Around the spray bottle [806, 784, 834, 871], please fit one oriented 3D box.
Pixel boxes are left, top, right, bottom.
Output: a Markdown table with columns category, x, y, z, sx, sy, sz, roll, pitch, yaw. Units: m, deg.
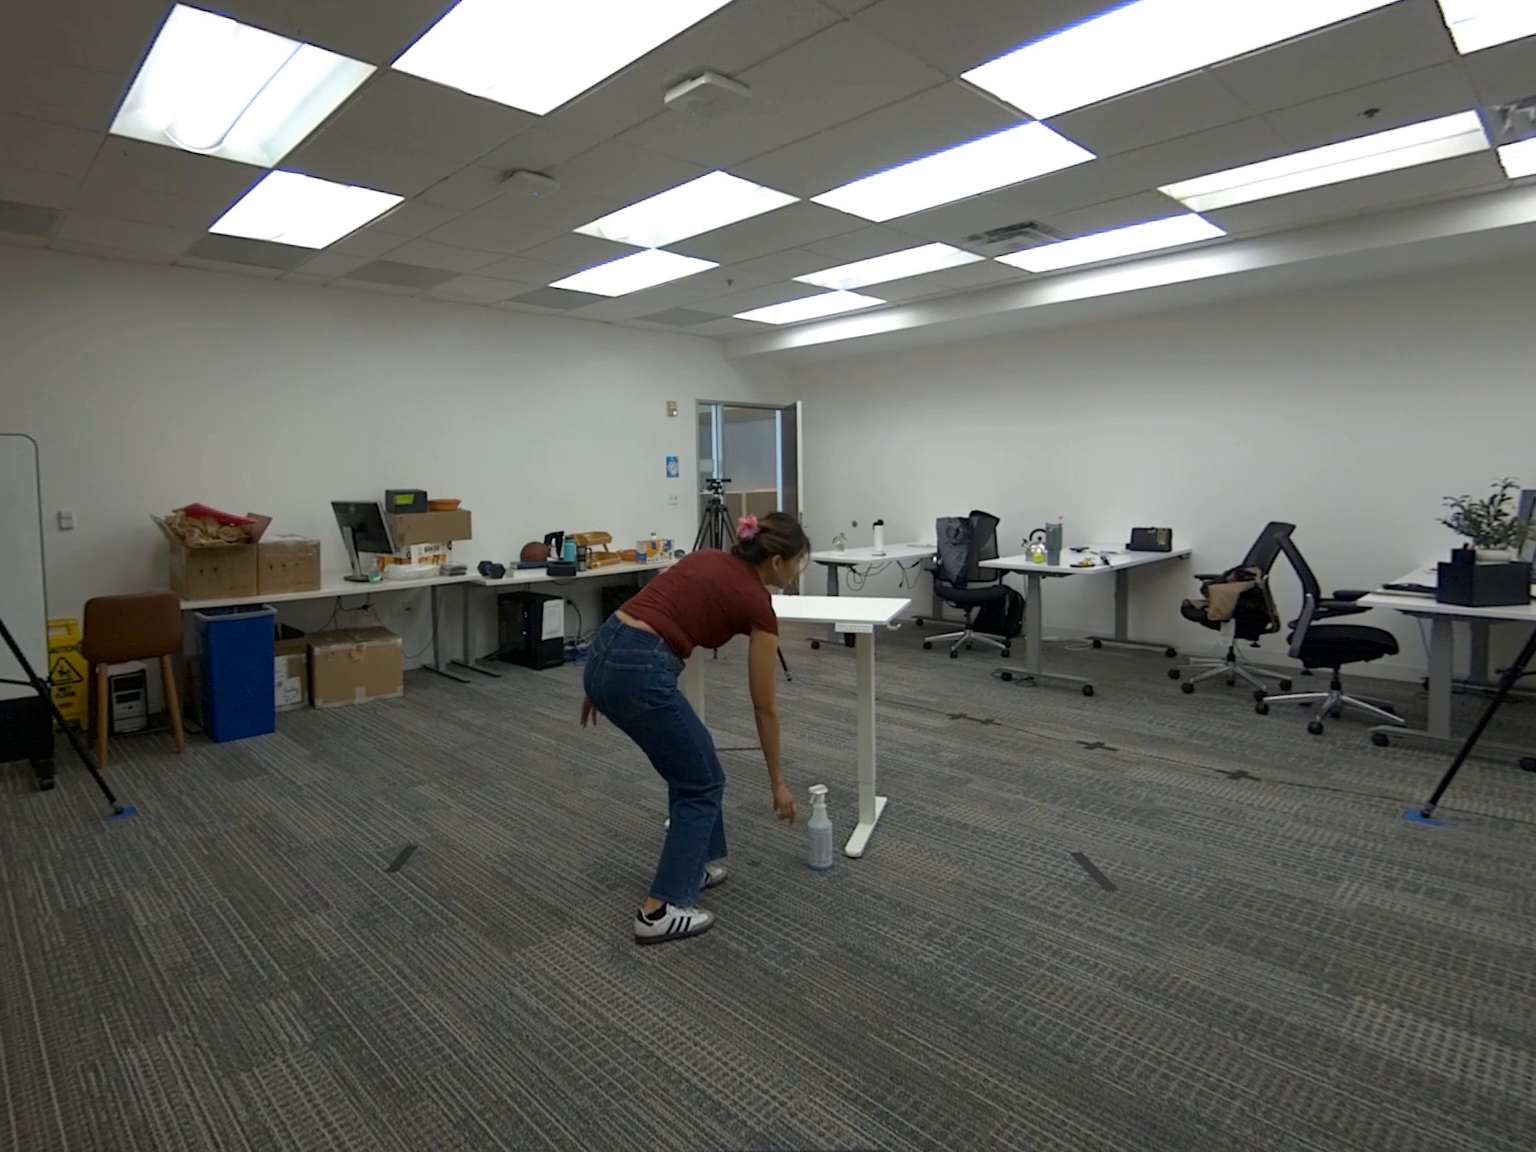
| category | x | y | z | sx | sy | sz | roll | pitch | yaw |
| --- | --- | --- | --- | --- | --- | --- | --- | --- | --- |
| spray bottle | 0.186 | 0.897 | 3.069 | 0.089 | 0.296 | 0.088 | -3 | 4 | -15 |
